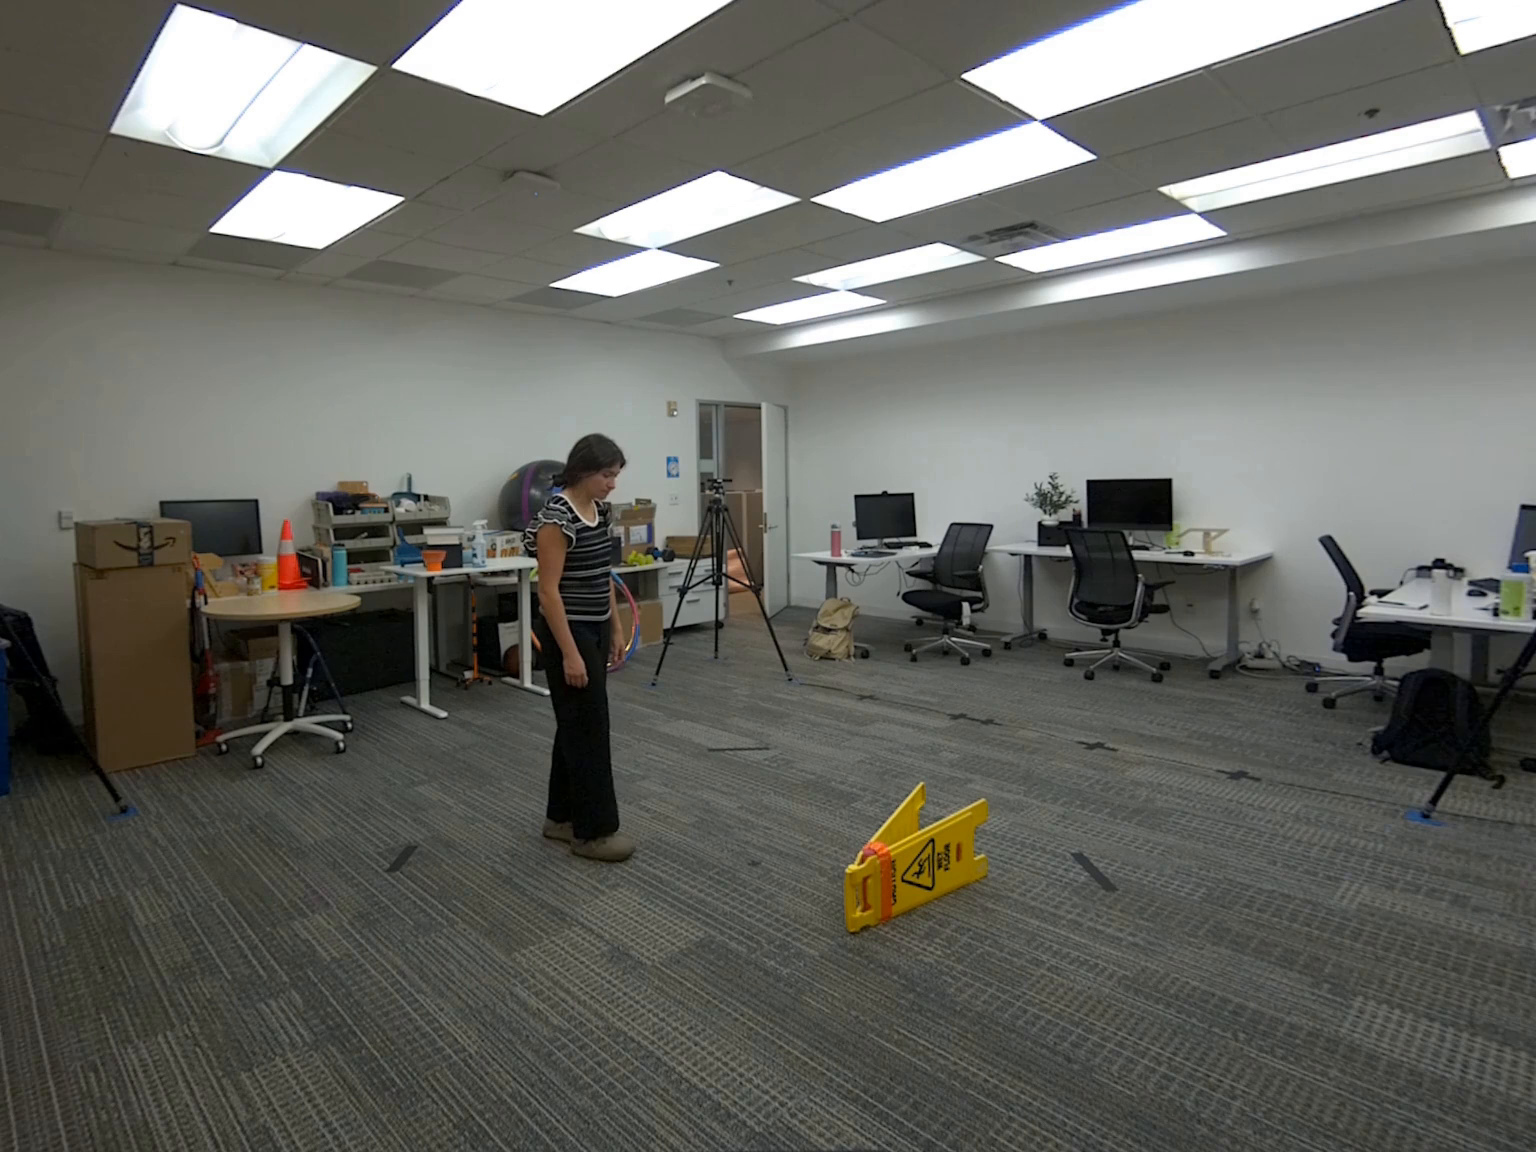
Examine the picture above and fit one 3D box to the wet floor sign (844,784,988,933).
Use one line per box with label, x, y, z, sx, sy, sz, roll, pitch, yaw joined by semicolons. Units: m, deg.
wet floor sign;0.460;0.945;2.818;0.299;0.280;0.631;5;11;42
